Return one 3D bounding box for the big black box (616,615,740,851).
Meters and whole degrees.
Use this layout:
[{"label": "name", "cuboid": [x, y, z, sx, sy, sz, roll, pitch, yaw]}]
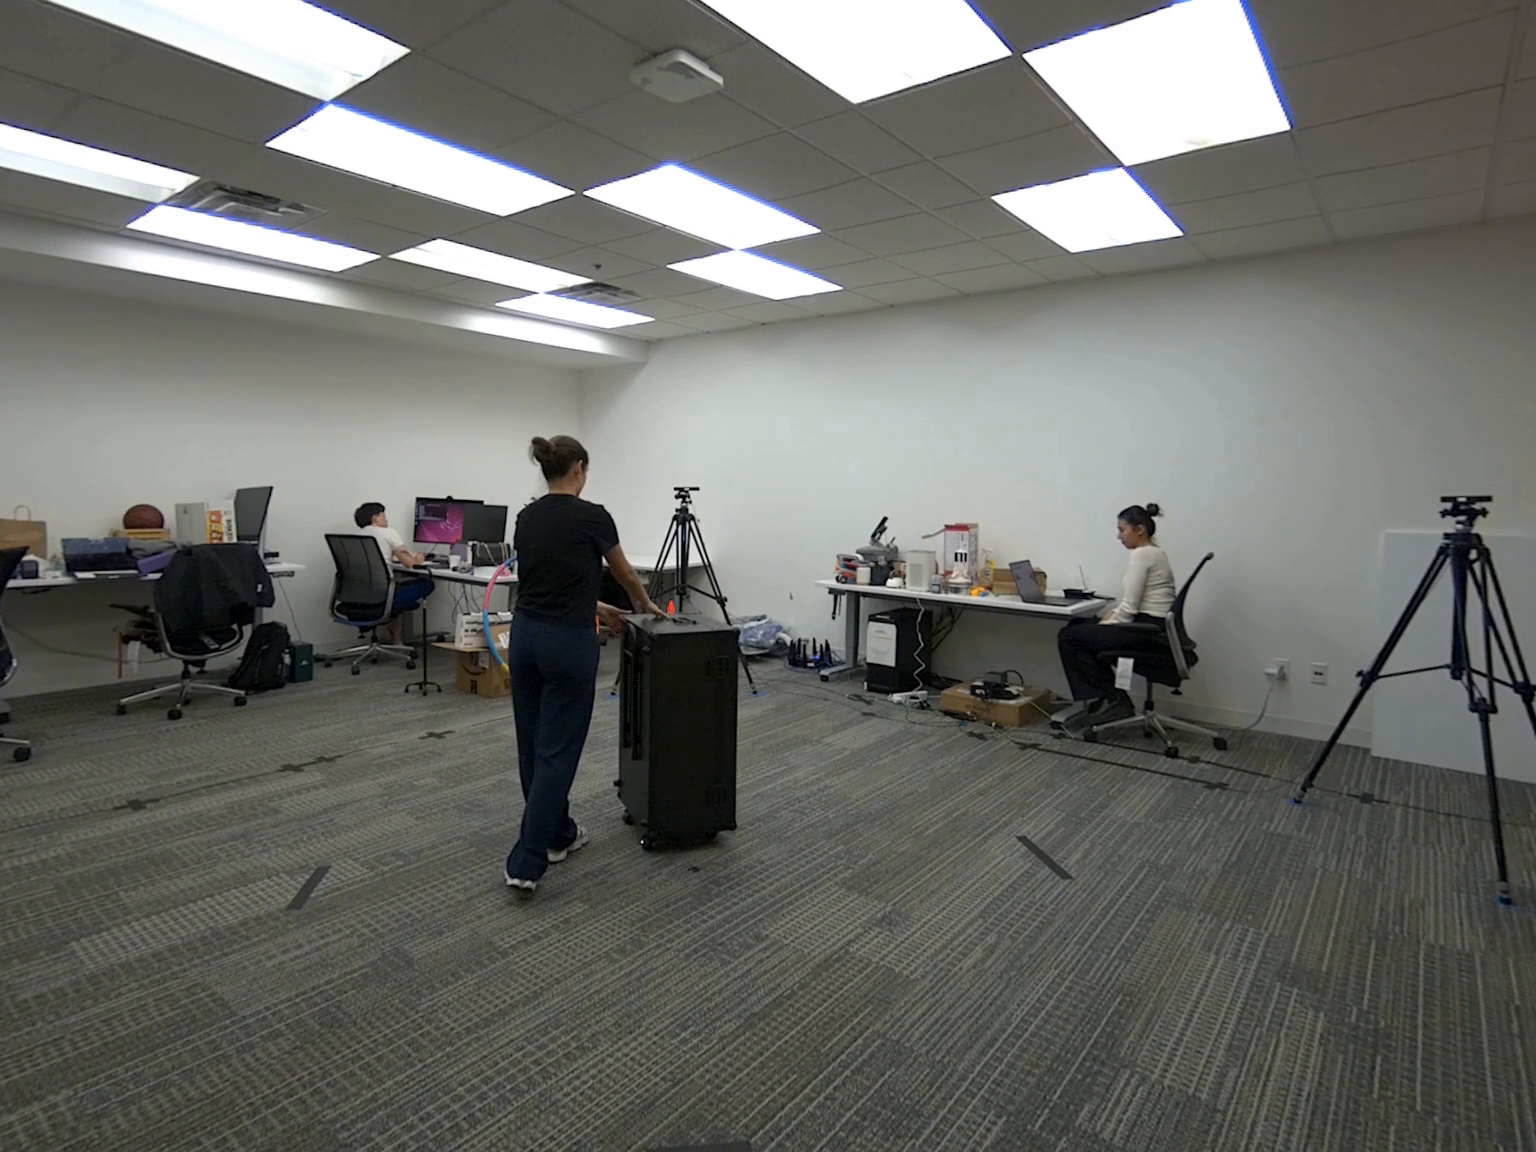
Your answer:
[{"label": "big black box", "cuboid": [-0.366, 0.604, 3.445, 0.388, 0.859, 0.533, -1, 4, -21]}]
